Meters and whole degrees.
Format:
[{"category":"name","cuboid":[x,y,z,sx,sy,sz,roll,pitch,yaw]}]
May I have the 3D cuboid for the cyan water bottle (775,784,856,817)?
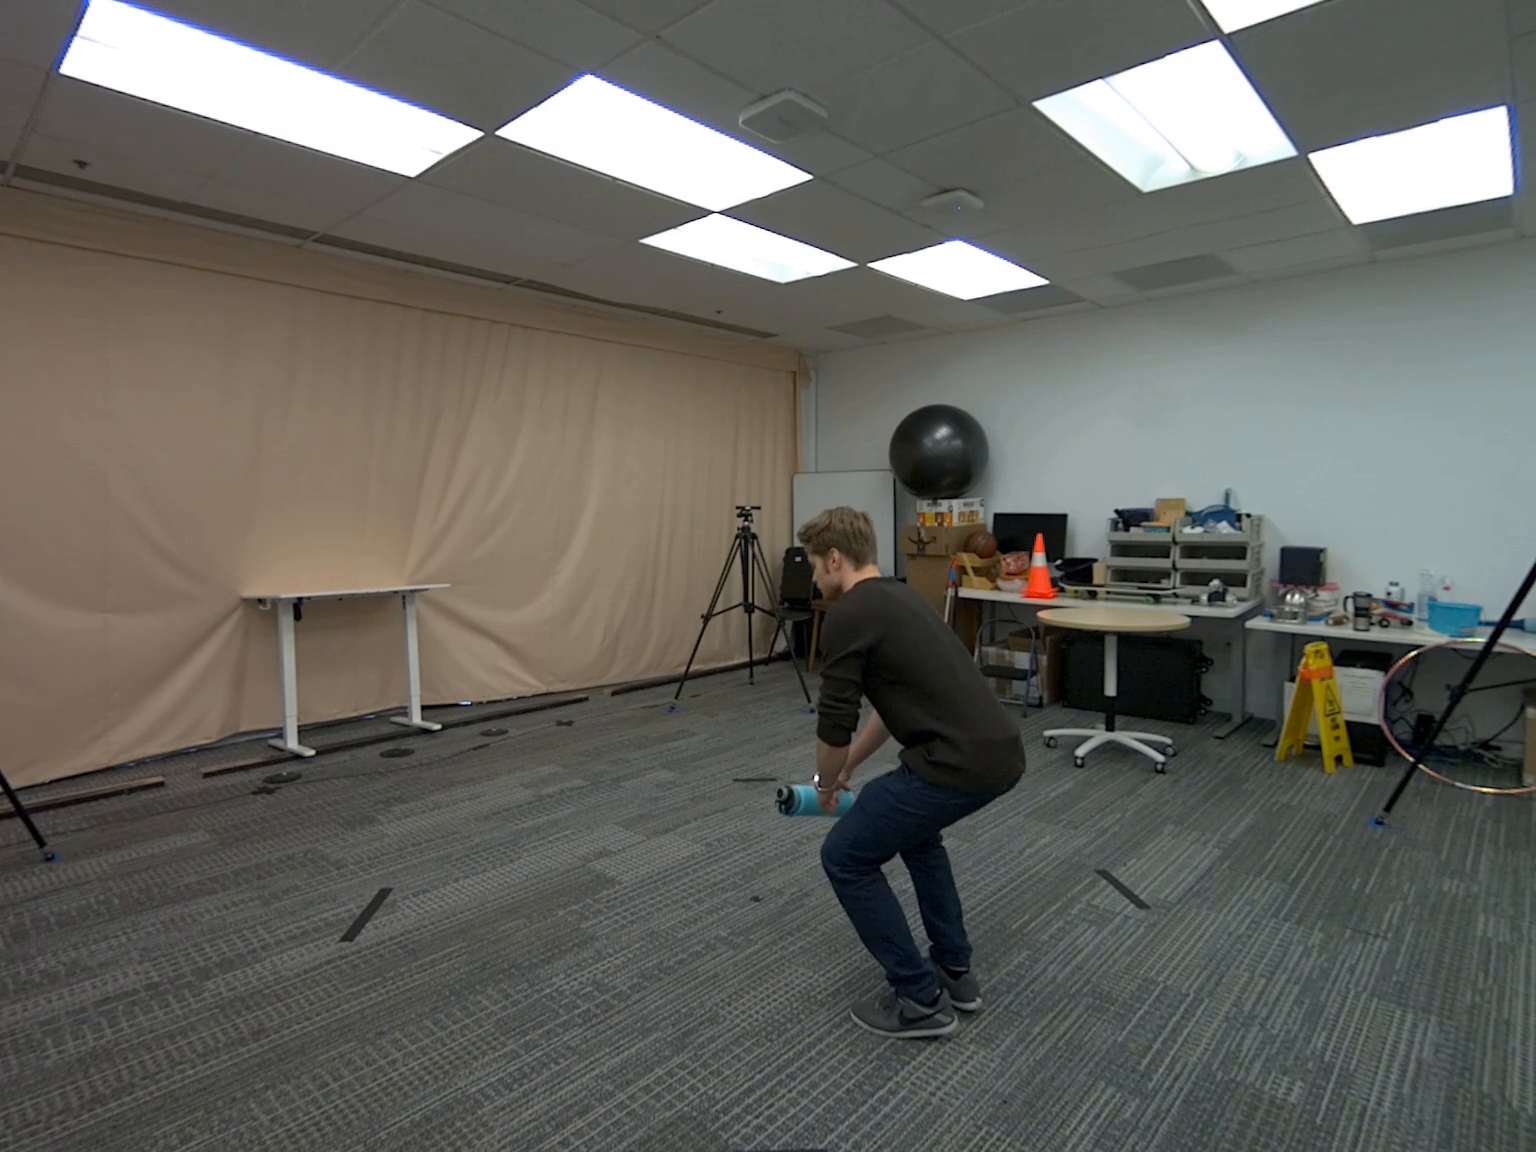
[{"category":"cyan water bottle","cuboid":[0.158,0.698,2.615,0.275,0.092,0.095,12,-3,-30]}]
